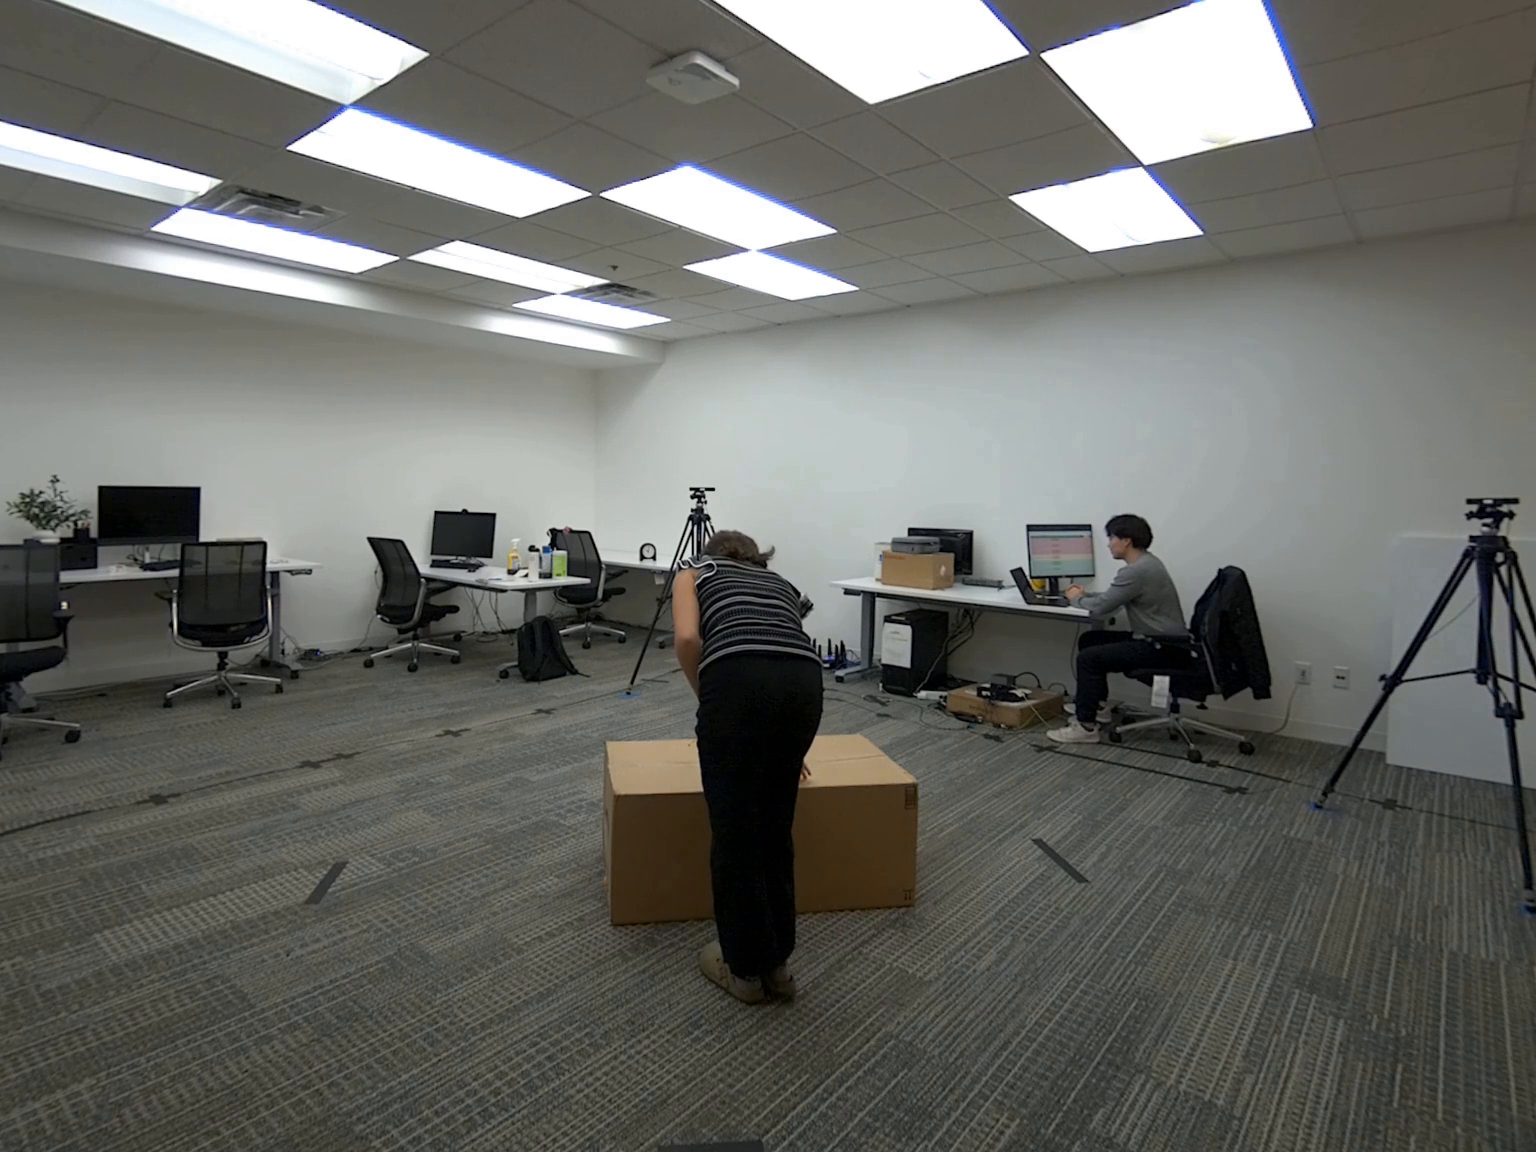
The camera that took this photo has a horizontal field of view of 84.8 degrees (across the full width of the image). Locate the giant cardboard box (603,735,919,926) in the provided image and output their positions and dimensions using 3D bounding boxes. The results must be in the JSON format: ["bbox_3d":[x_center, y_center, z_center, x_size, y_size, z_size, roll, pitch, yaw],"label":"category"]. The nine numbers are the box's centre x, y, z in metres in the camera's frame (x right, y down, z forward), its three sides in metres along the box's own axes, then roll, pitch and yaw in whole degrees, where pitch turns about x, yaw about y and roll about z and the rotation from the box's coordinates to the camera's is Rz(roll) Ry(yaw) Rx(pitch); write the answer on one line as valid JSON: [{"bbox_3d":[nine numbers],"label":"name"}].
[{"bbox_3d":[-0.069,0.866,3.039,1.014,0.425,0.586,0,5,-11],"label":"giant cardboard box"}]
